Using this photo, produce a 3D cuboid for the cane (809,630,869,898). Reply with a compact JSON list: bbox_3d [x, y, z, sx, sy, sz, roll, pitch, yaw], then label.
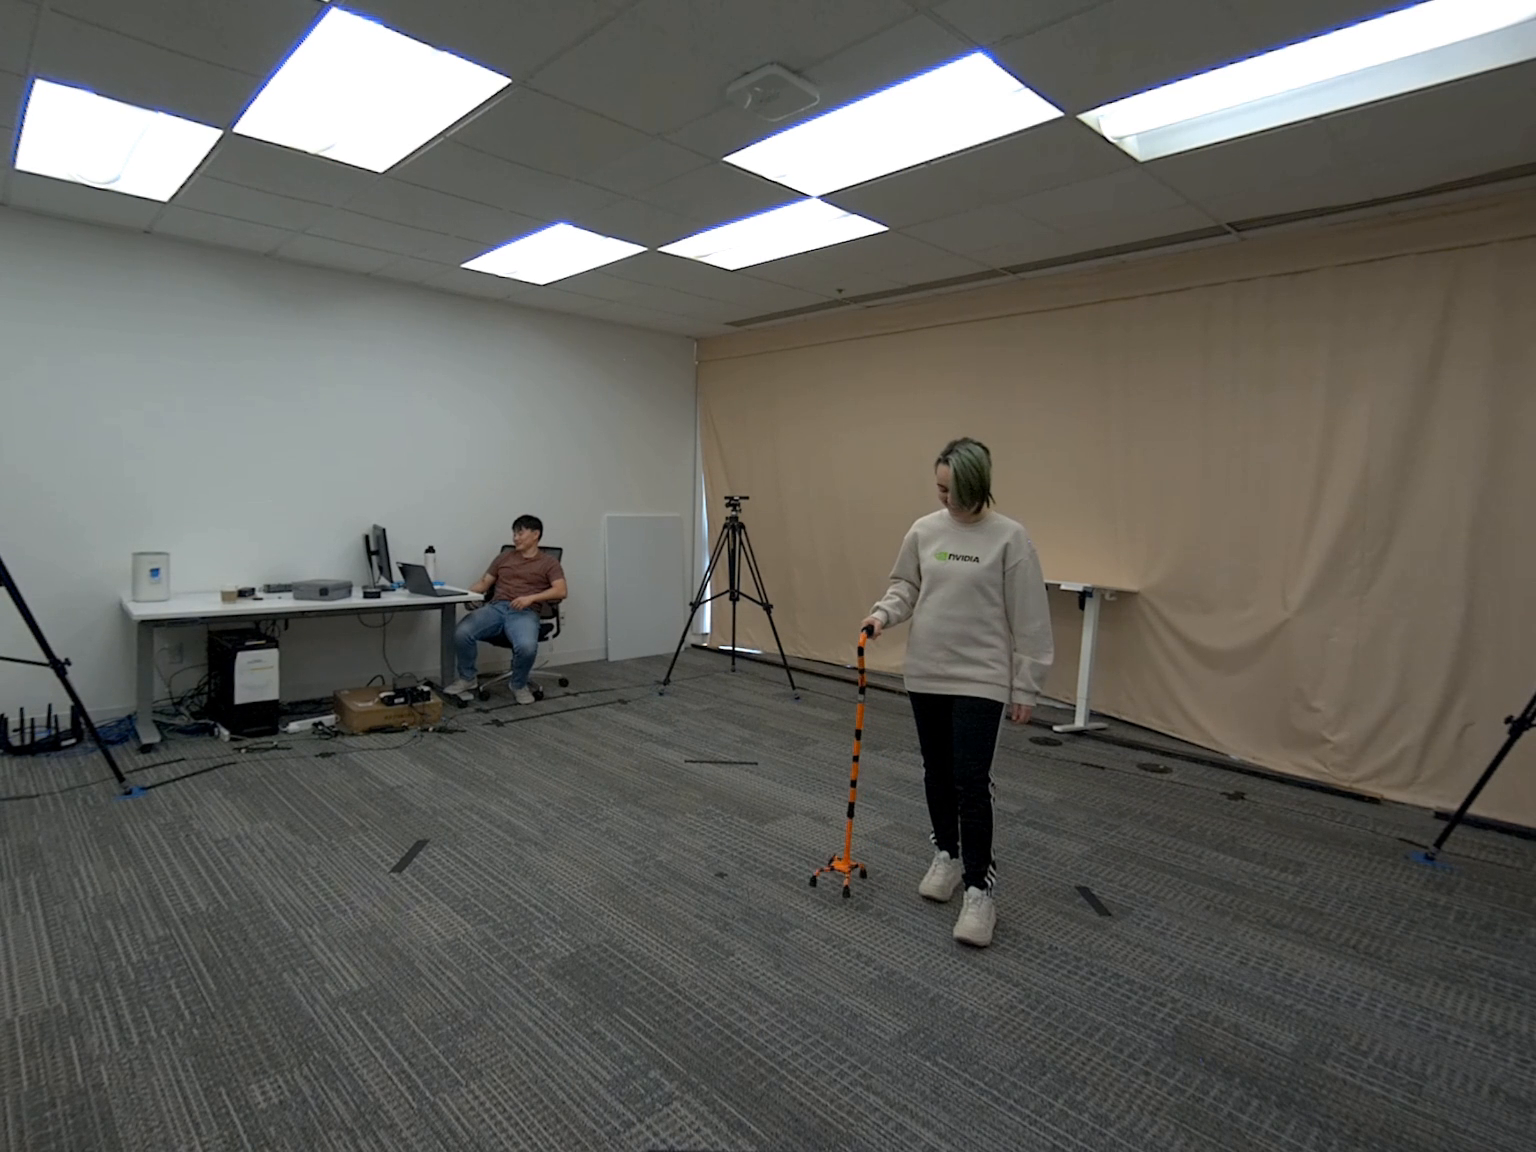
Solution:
[{"bbox_3d":[0.284,0.631,2.936,0.154,0.906,0.203,5,4,24],"label":"cane"}]
